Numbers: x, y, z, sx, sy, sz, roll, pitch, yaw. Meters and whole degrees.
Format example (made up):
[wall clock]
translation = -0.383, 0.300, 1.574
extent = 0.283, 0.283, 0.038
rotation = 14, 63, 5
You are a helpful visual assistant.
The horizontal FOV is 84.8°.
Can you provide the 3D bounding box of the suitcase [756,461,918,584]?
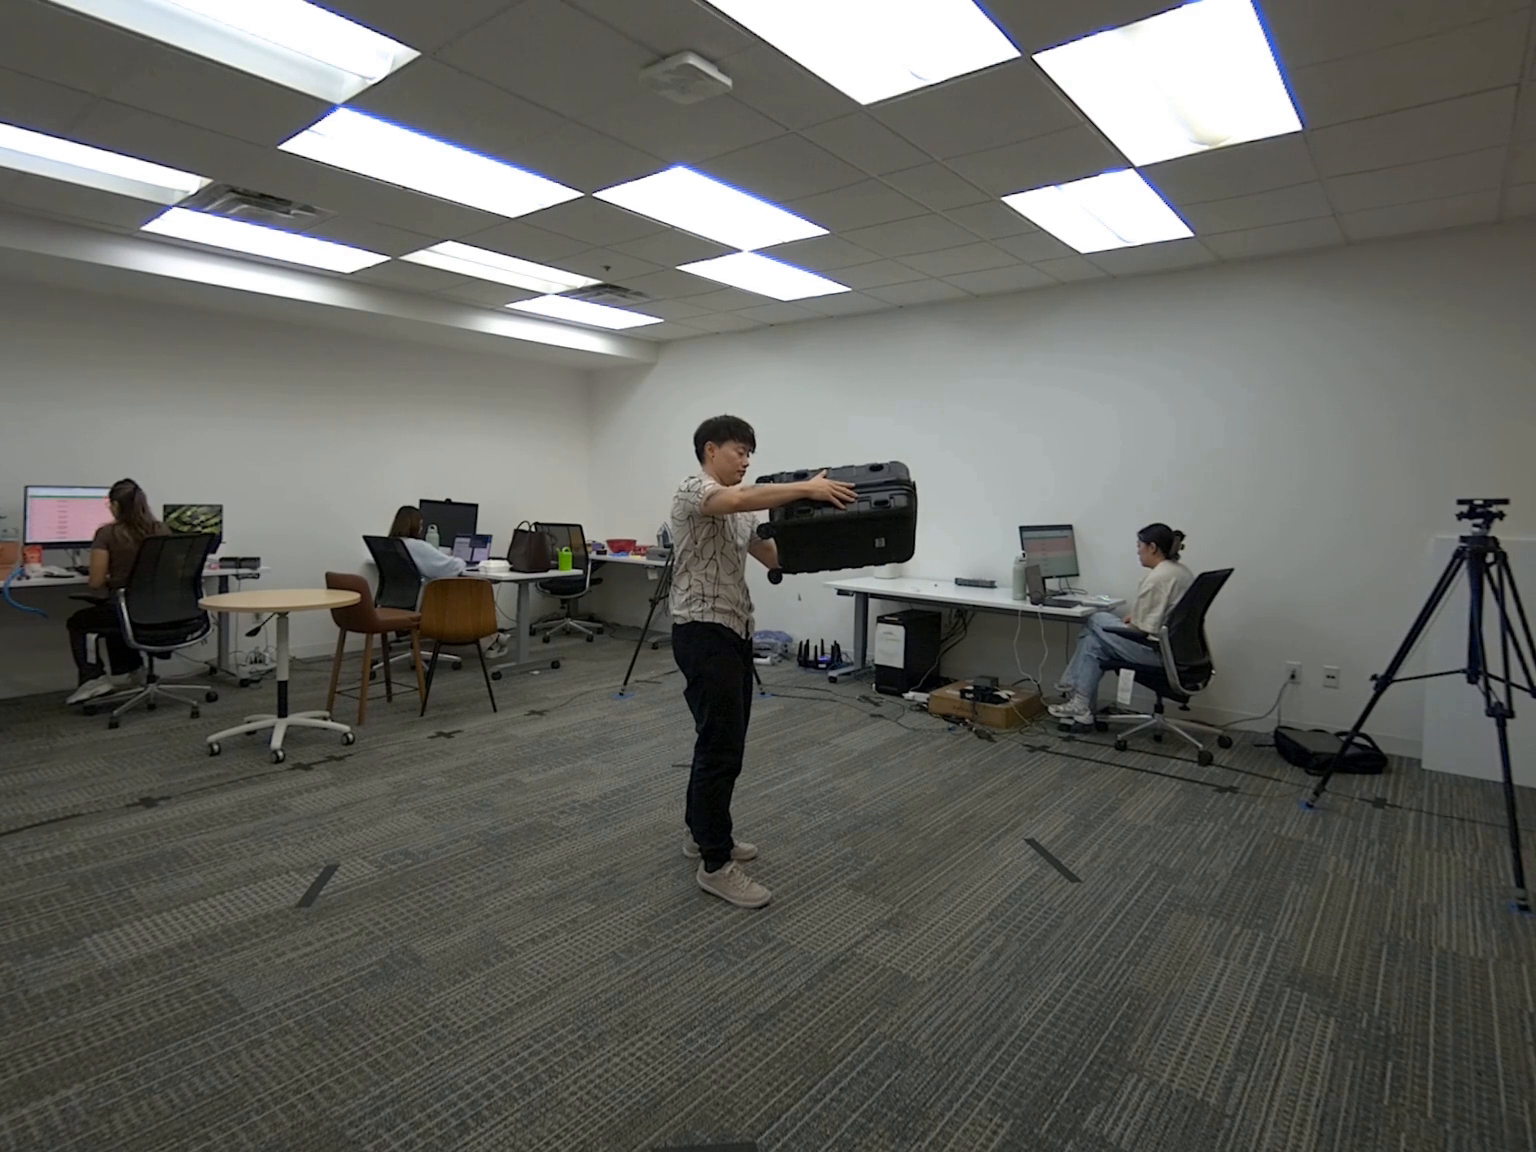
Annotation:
[suitcase]
translation = 0.249, -0.203, 3.021
extent = 0.554, 0.255, 0.362
rotation = -6, -34, 8
